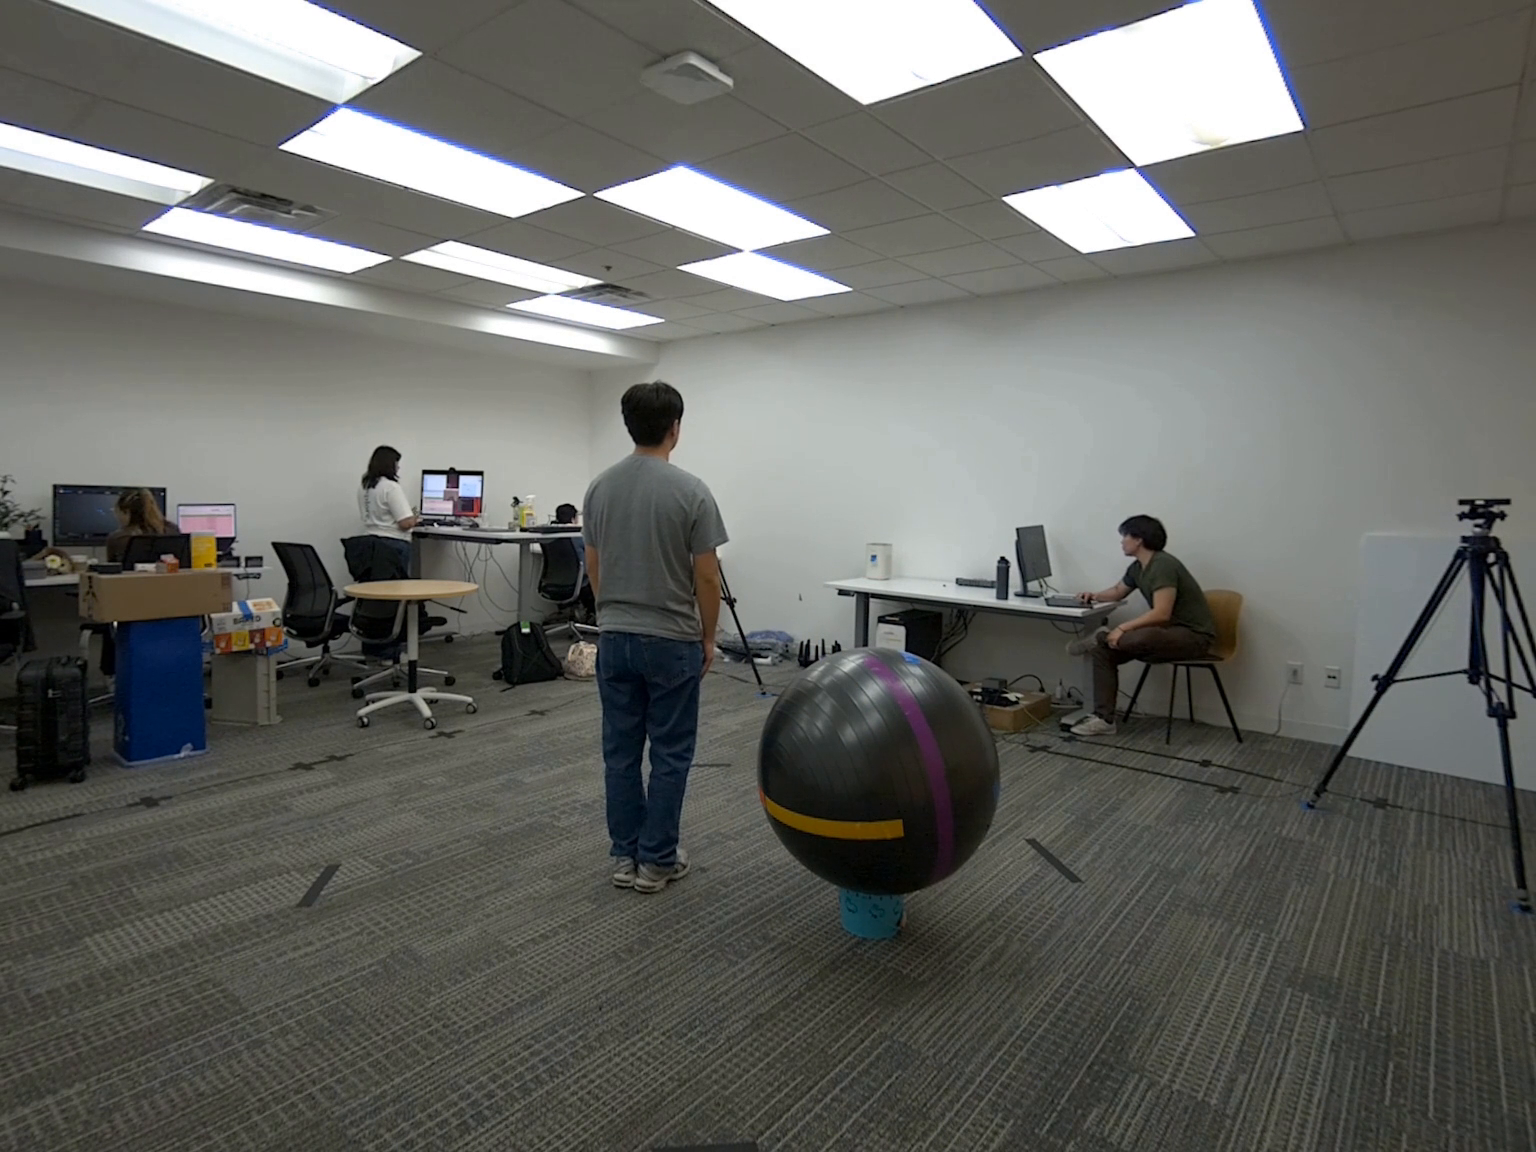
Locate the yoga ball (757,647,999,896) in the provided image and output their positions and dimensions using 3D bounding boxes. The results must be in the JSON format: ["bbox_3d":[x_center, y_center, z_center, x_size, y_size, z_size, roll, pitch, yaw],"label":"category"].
[{"bbox_3d":[0.337,0.612,2.710,0.757,0.756,0.761,1,4,-2],"label":"yoga ball"}]
